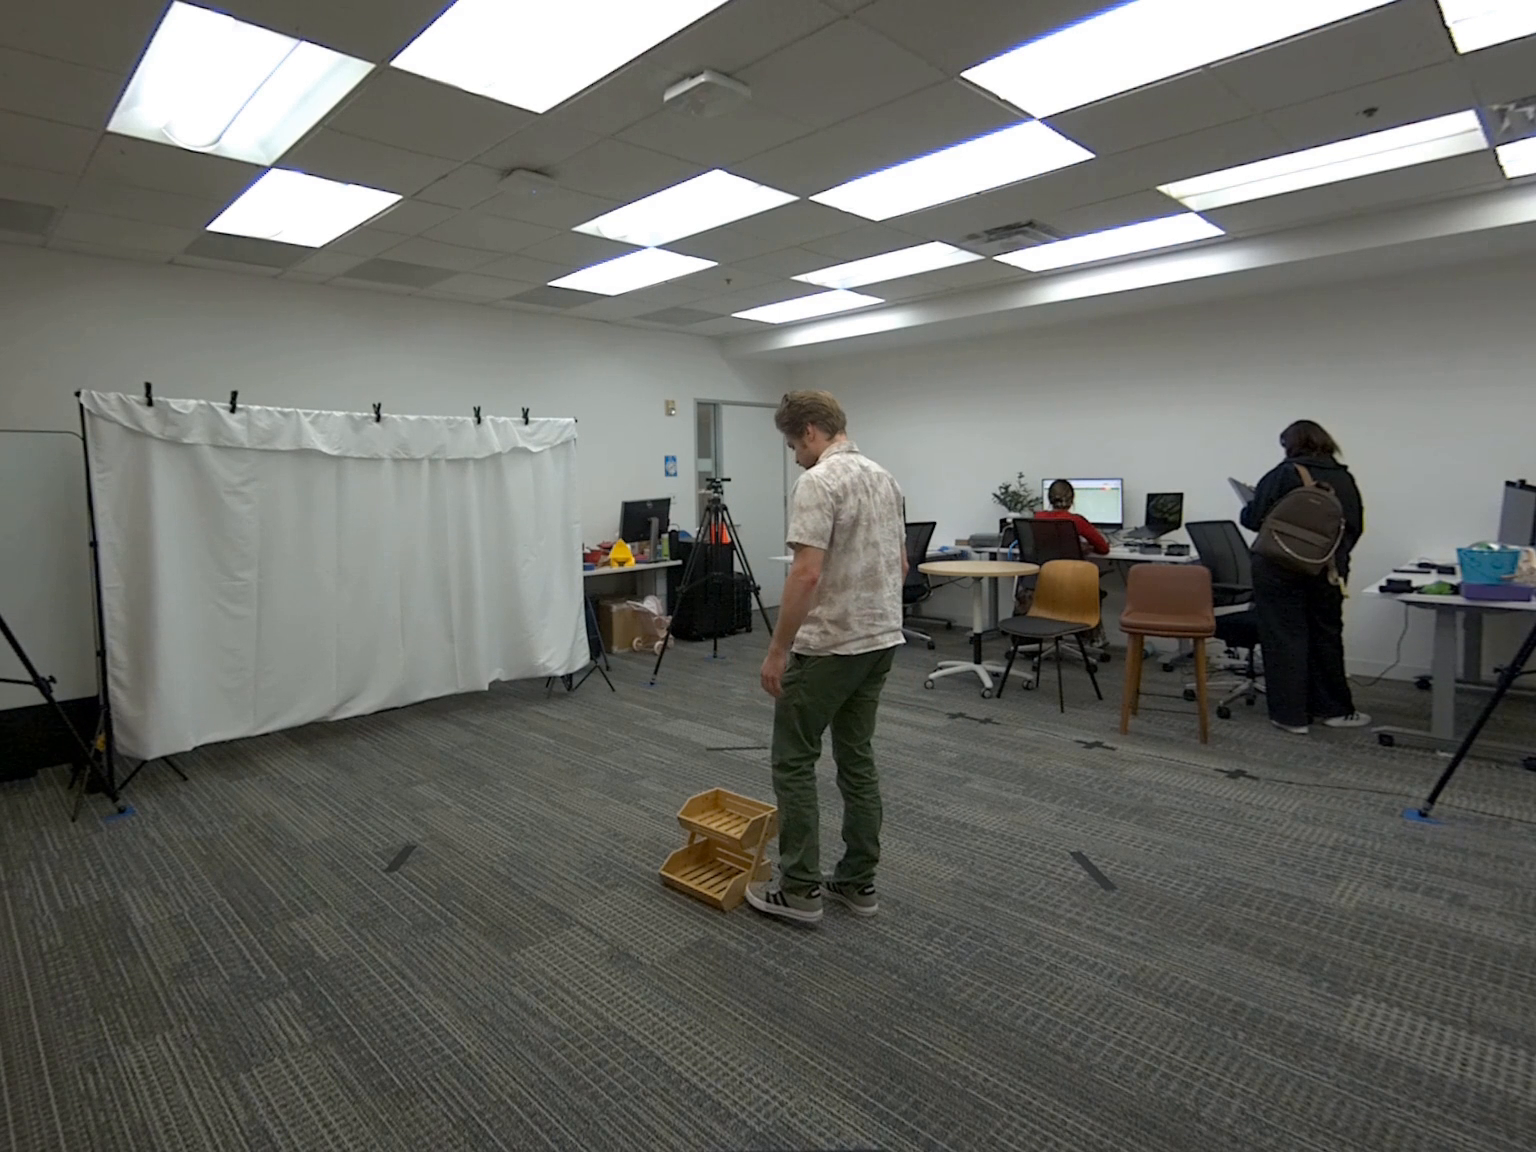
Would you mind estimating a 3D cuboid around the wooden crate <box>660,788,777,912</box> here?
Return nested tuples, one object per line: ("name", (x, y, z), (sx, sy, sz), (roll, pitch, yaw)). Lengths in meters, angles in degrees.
("wooden crate", (-0.167, 0.927, 2.945), (0.334, 0.272, 0.294), (4, 6, 42))
